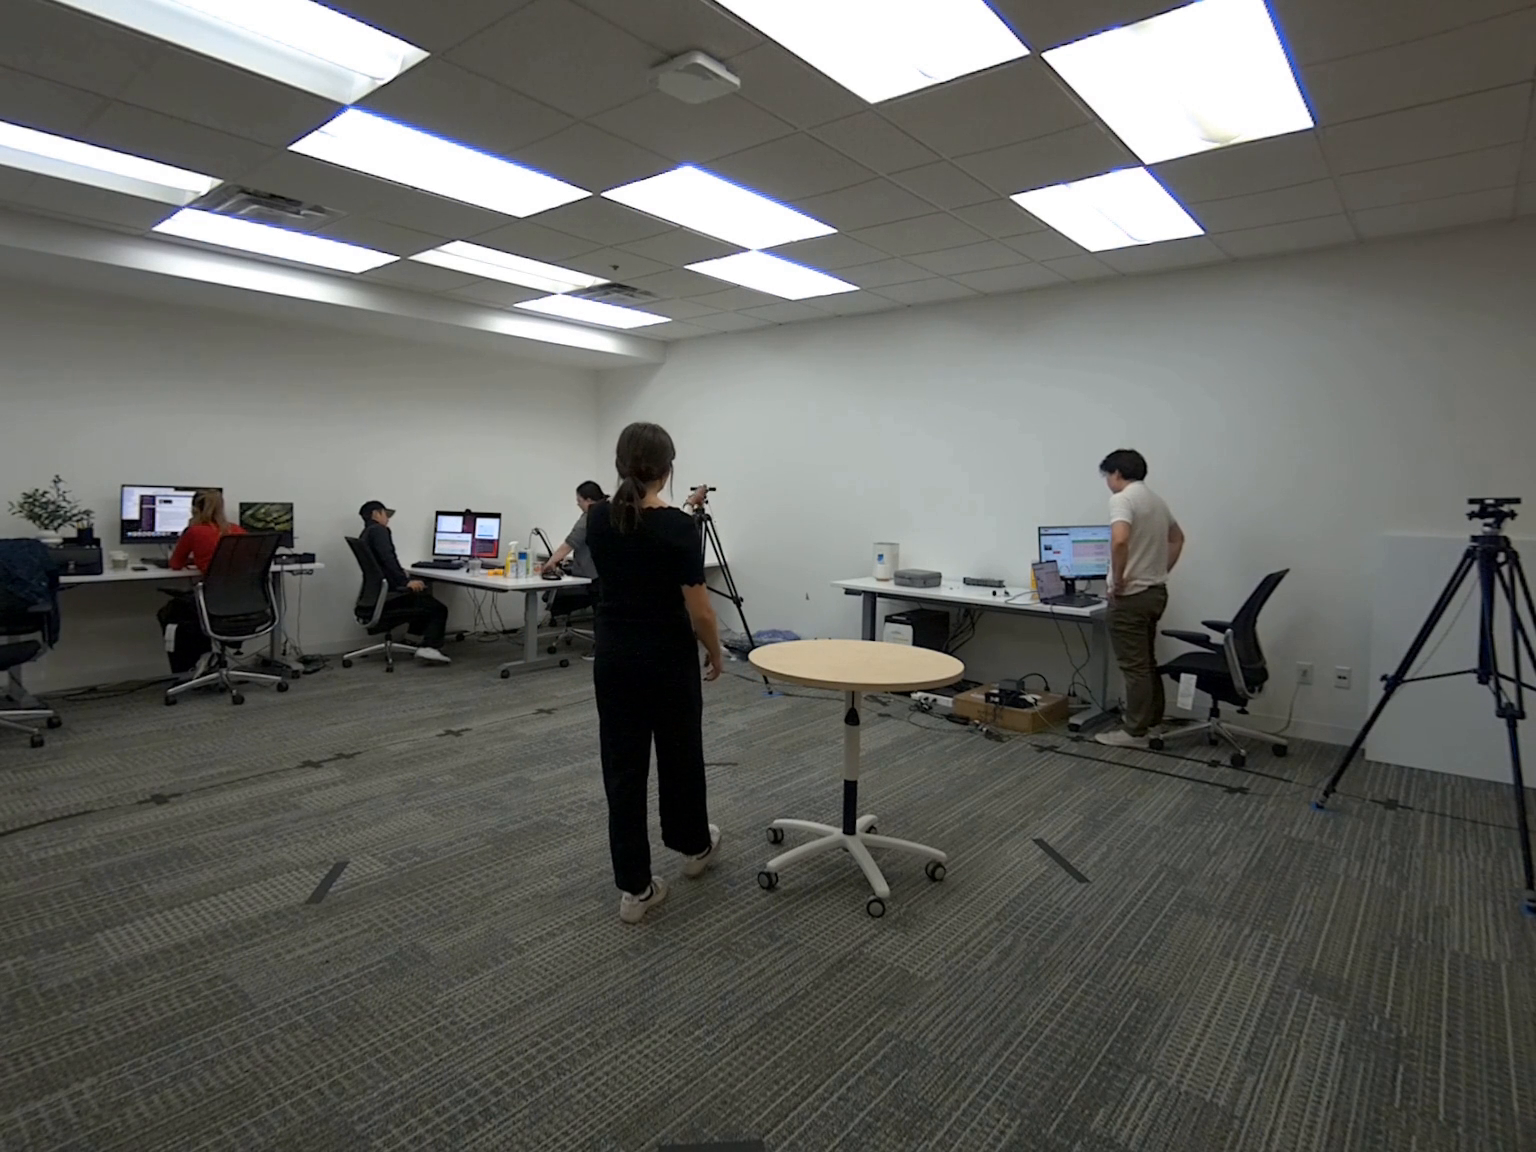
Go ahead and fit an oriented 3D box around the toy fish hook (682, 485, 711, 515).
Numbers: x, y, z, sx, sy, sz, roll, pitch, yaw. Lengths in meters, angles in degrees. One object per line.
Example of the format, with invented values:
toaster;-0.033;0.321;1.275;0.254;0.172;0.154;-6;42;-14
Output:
toy fish hook;-0.353;-0.228;3.220;0.049;0.220;0.511;-33;17;28
